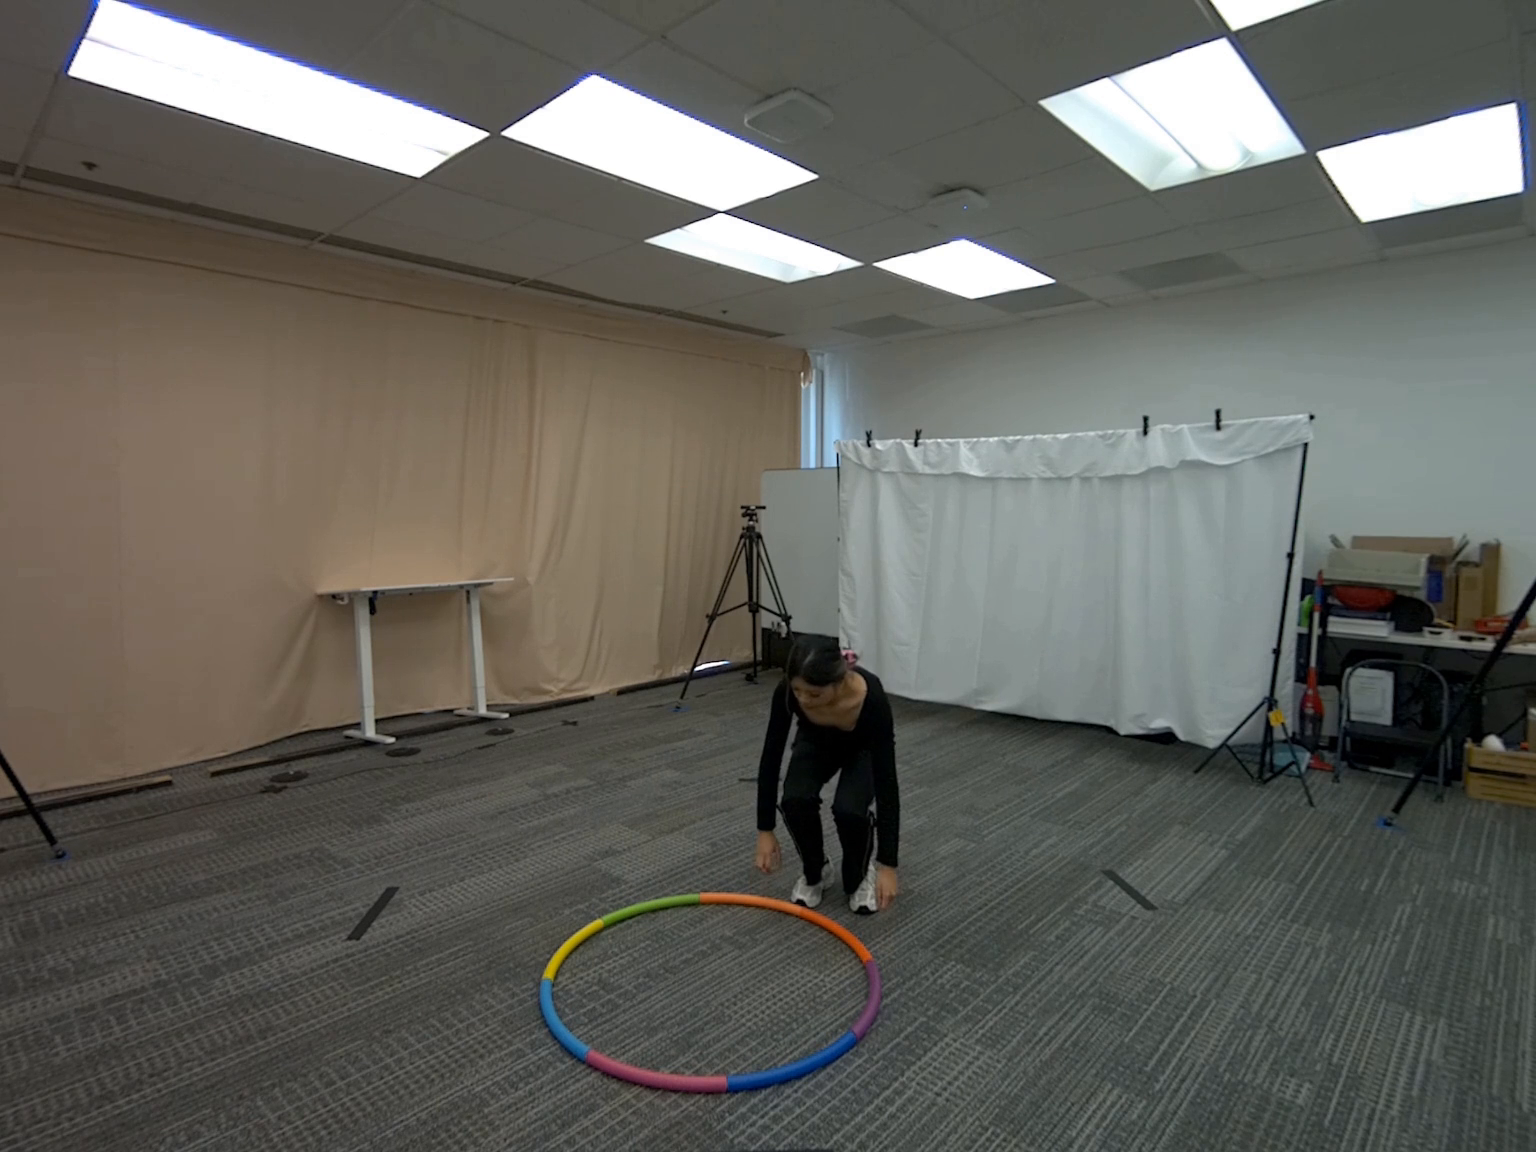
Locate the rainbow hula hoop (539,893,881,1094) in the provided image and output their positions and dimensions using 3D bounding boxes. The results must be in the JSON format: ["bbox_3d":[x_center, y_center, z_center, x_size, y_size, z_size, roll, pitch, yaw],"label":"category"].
[{"bbox_3d":[-0.168,1.158,2.480,0.978,0.035,0.982,0,4,-2],"label":"rainbow hula hoop"}]
